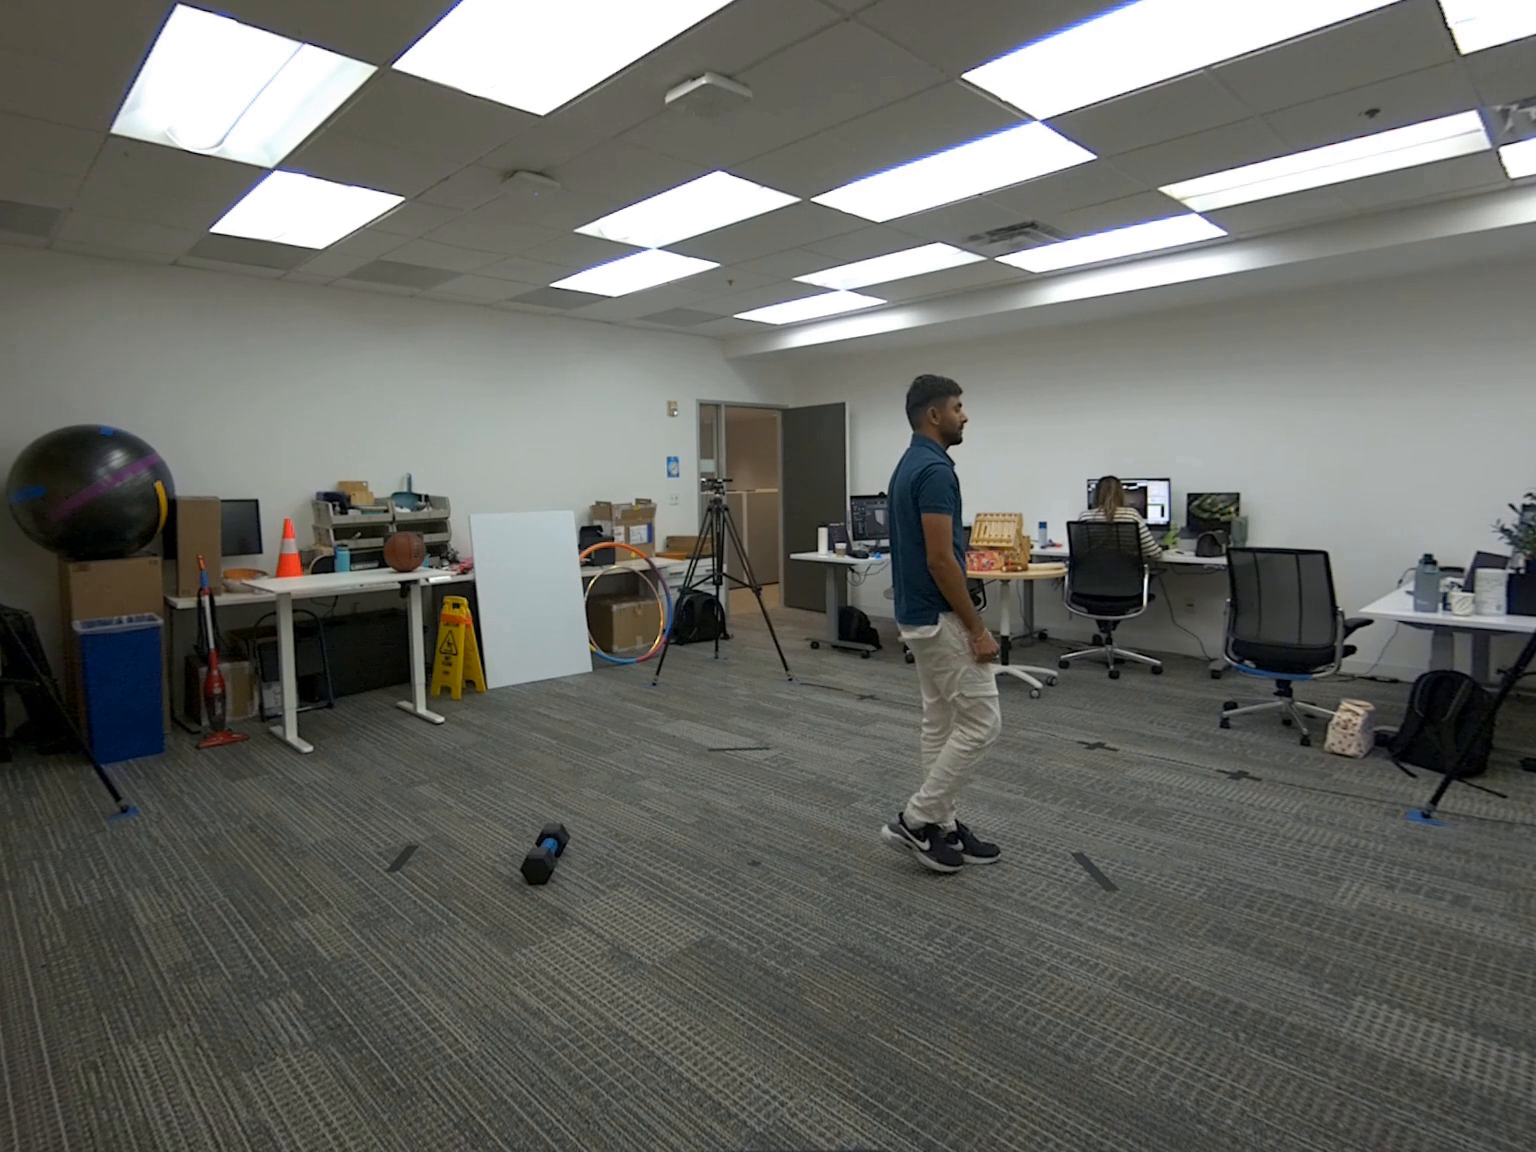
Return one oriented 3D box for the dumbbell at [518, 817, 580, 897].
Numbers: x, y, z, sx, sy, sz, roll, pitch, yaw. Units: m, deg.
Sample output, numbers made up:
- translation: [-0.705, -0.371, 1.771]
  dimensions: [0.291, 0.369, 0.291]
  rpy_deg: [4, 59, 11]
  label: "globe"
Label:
- translation: [-0.792, 1.010, 3.107]
  dimensions: [0.108, 0.123, 0.295]
  rpy_deg: [30, 5, -4]
  label: "dumbbell"
